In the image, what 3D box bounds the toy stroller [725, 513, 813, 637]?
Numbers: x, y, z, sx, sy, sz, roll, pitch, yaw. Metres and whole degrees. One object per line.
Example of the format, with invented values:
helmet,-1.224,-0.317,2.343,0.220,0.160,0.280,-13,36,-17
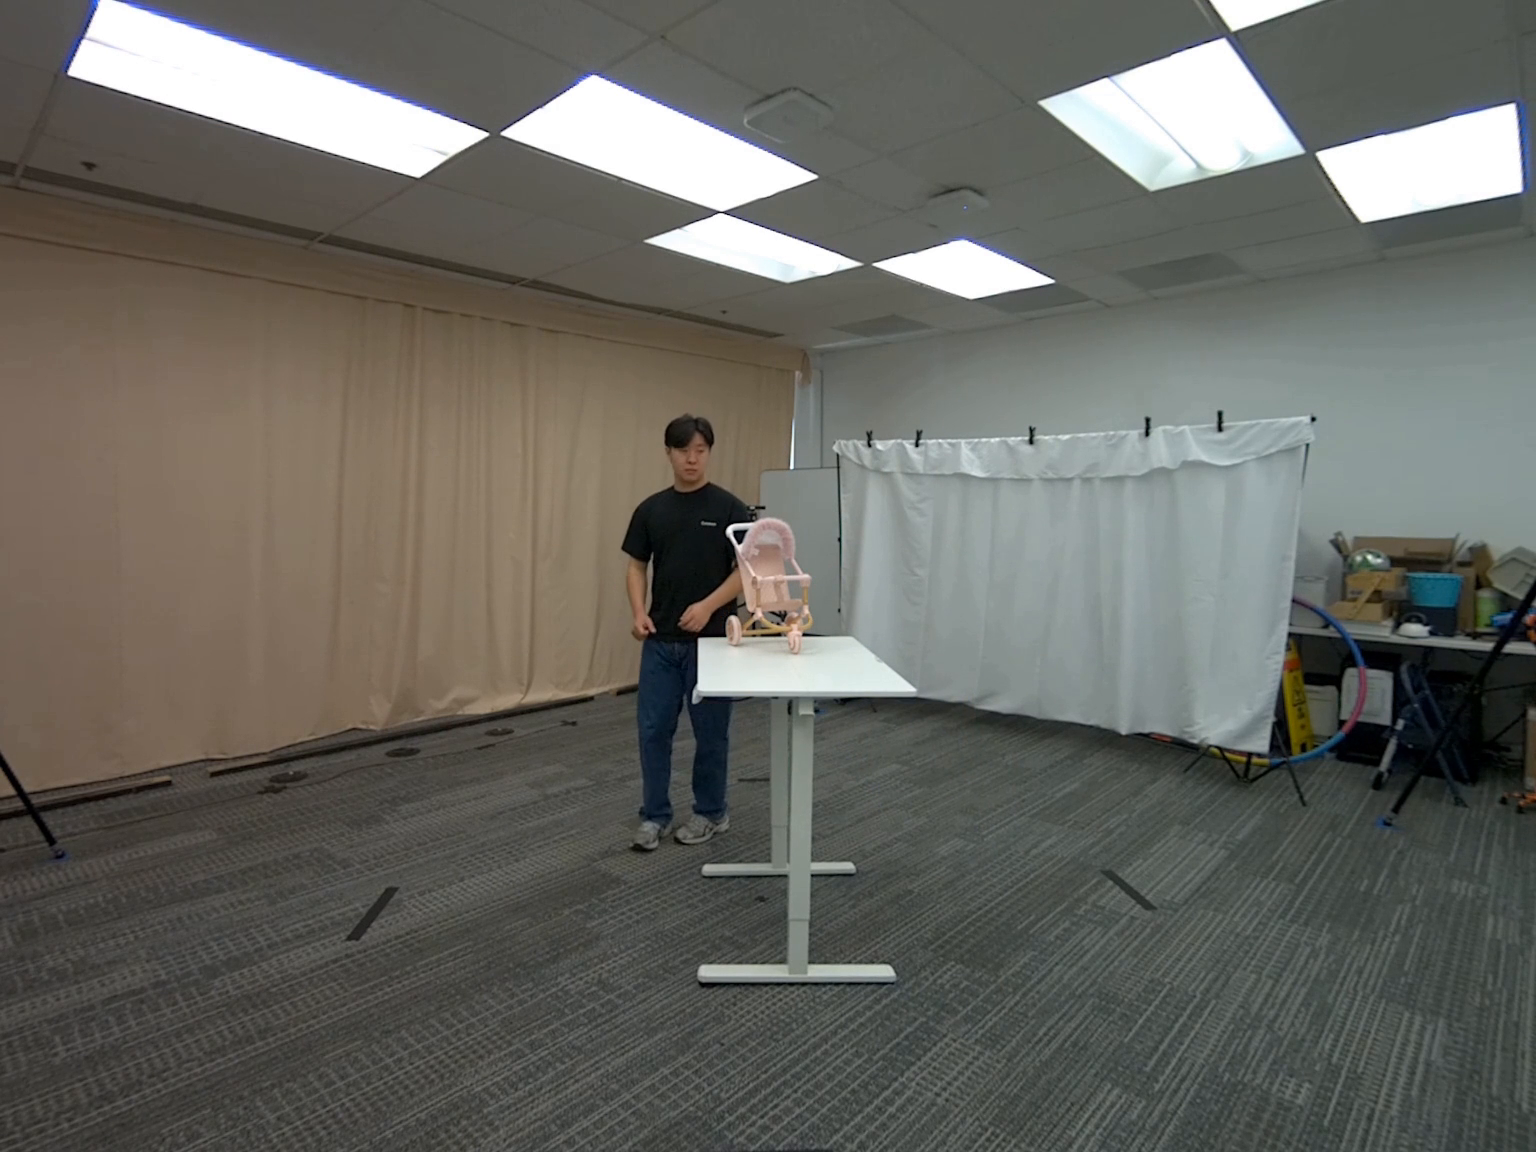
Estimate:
toy stroller,0.019,0.030,3.060,0.276,0.539,0.345,-2,-11,-19
